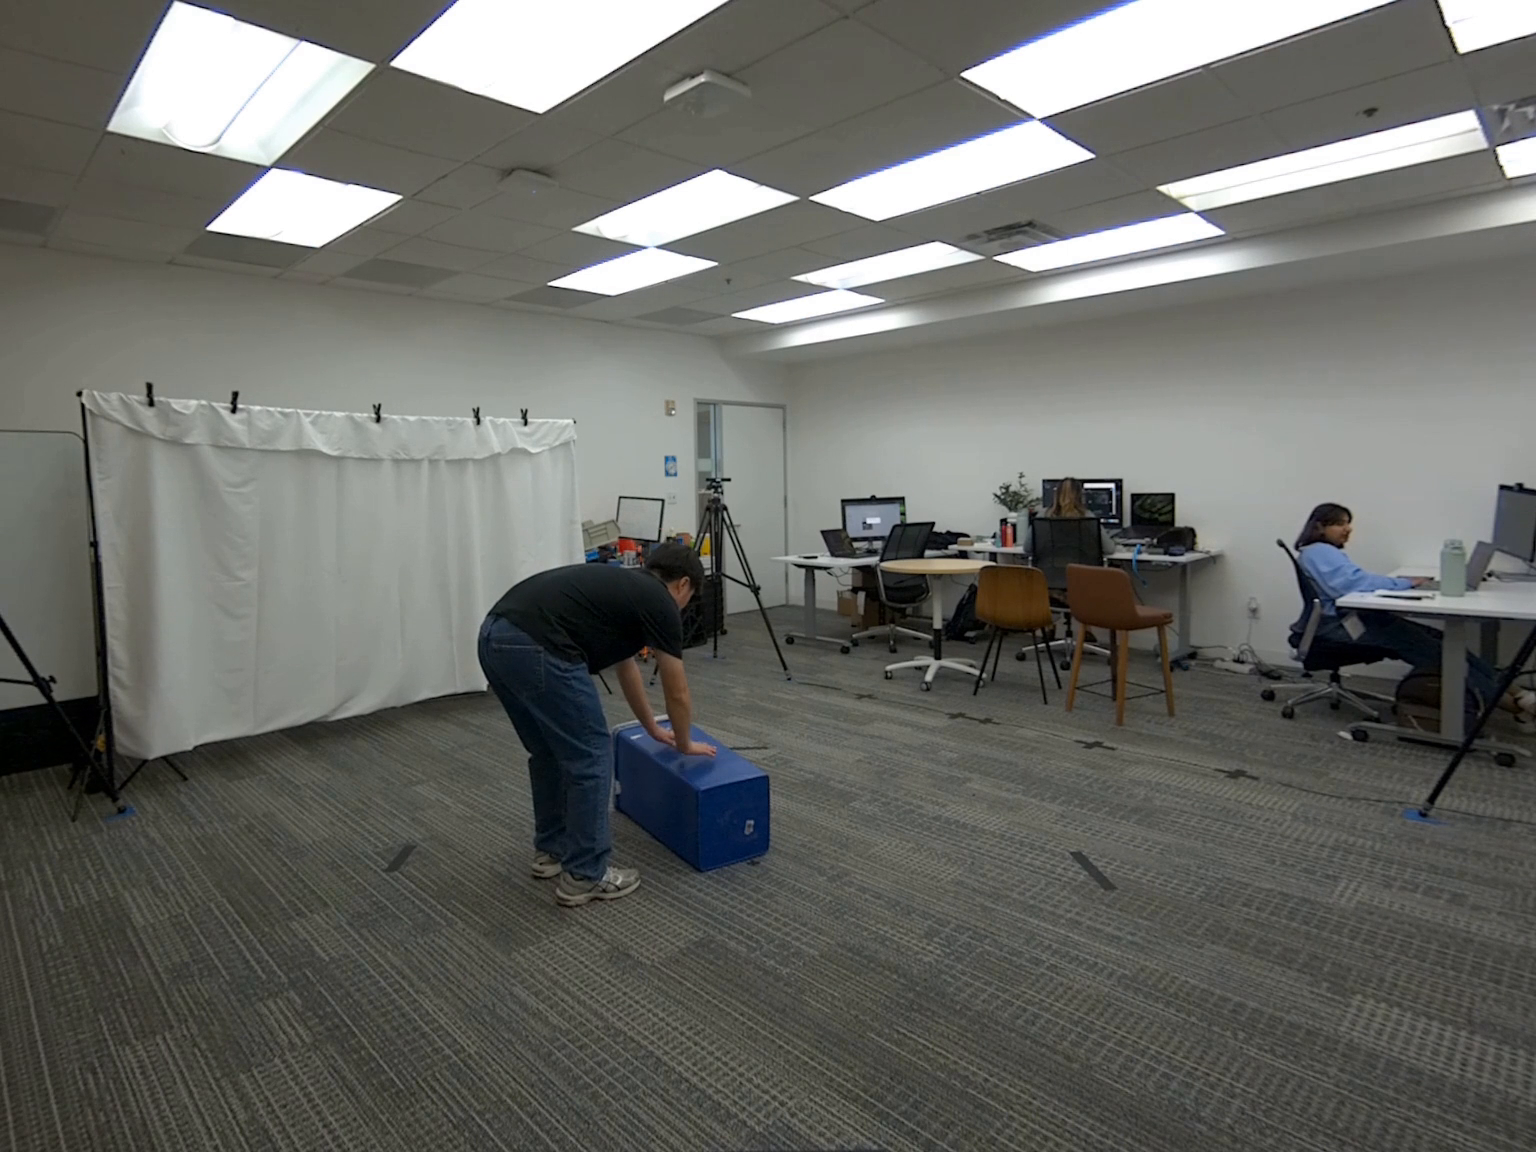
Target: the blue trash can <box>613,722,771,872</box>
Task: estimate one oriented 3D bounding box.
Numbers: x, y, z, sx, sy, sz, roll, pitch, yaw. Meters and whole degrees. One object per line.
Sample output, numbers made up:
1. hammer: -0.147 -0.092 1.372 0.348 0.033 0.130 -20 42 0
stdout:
1. blue trash can: -0.308 0.845 3.398 0.365 0.375 0.736 -4 10 -32
